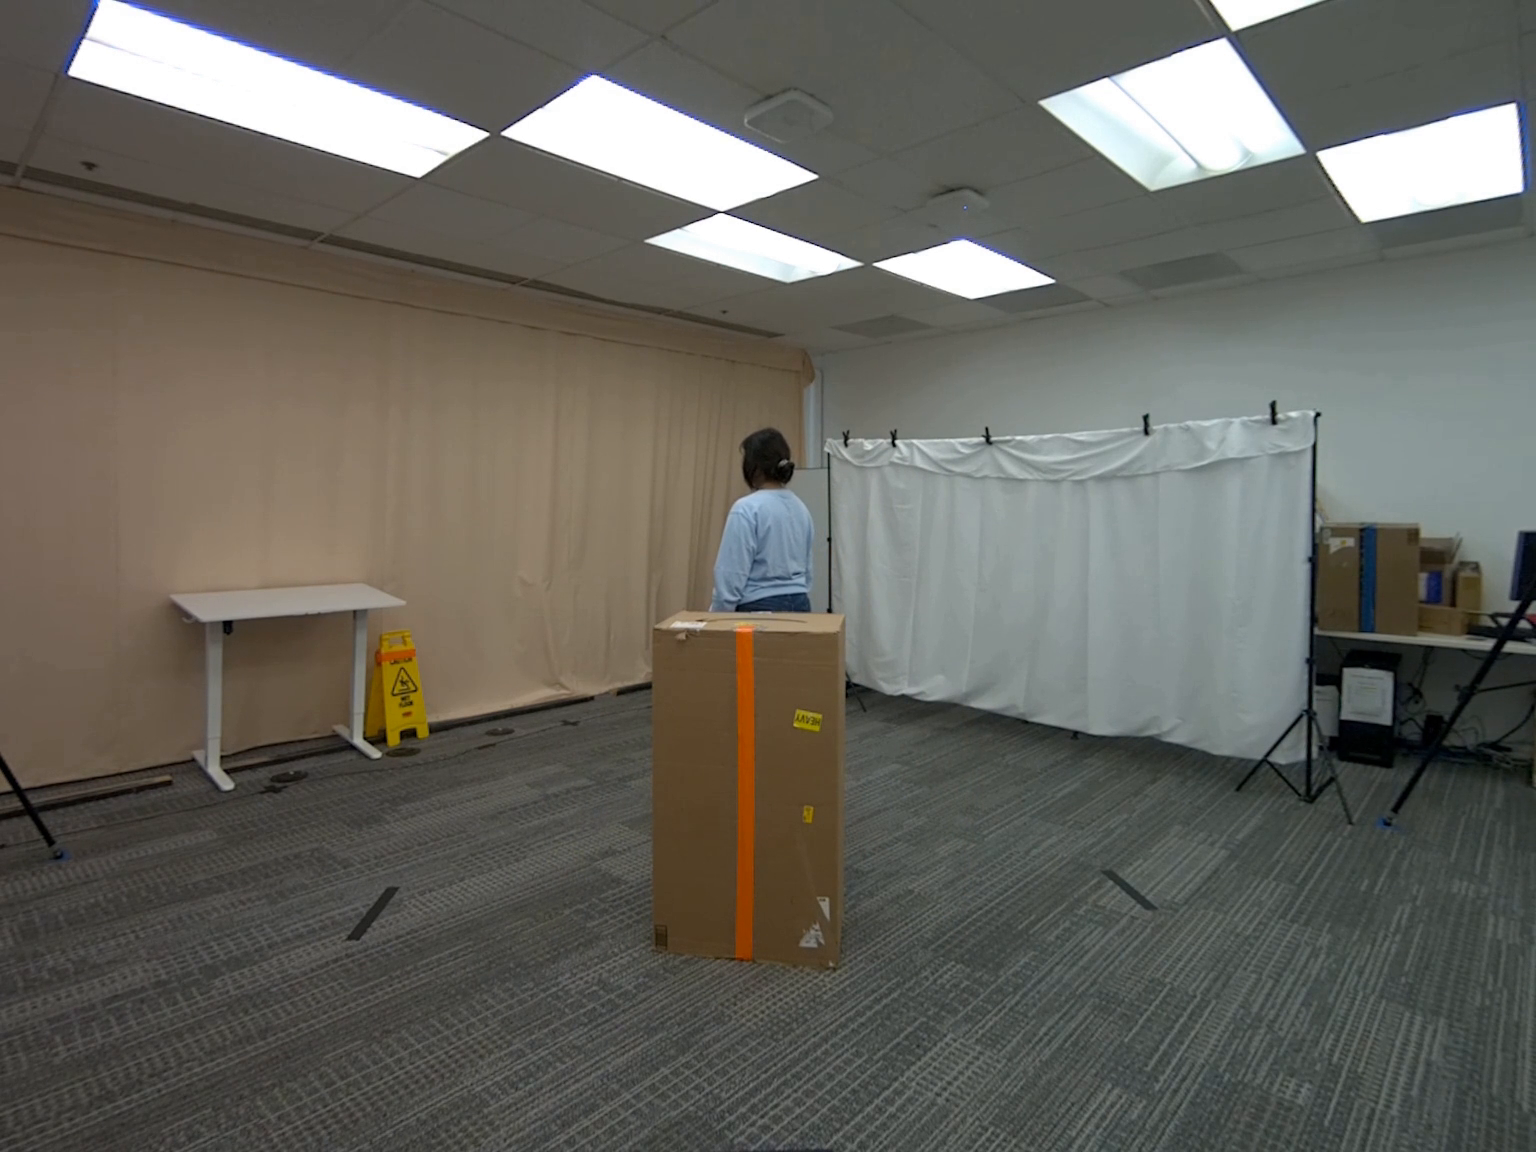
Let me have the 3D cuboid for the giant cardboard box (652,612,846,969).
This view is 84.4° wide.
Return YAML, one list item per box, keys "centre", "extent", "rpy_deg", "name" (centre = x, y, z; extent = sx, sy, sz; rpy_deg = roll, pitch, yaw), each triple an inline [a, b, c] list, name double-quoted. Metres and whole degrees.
- centre: [-0.051, 0.652, 2.761]
  extent: [0.584, 1.024, 0.422]
  rpy_deg: [0, 3, 10]
  name: "giant cardboard box"
